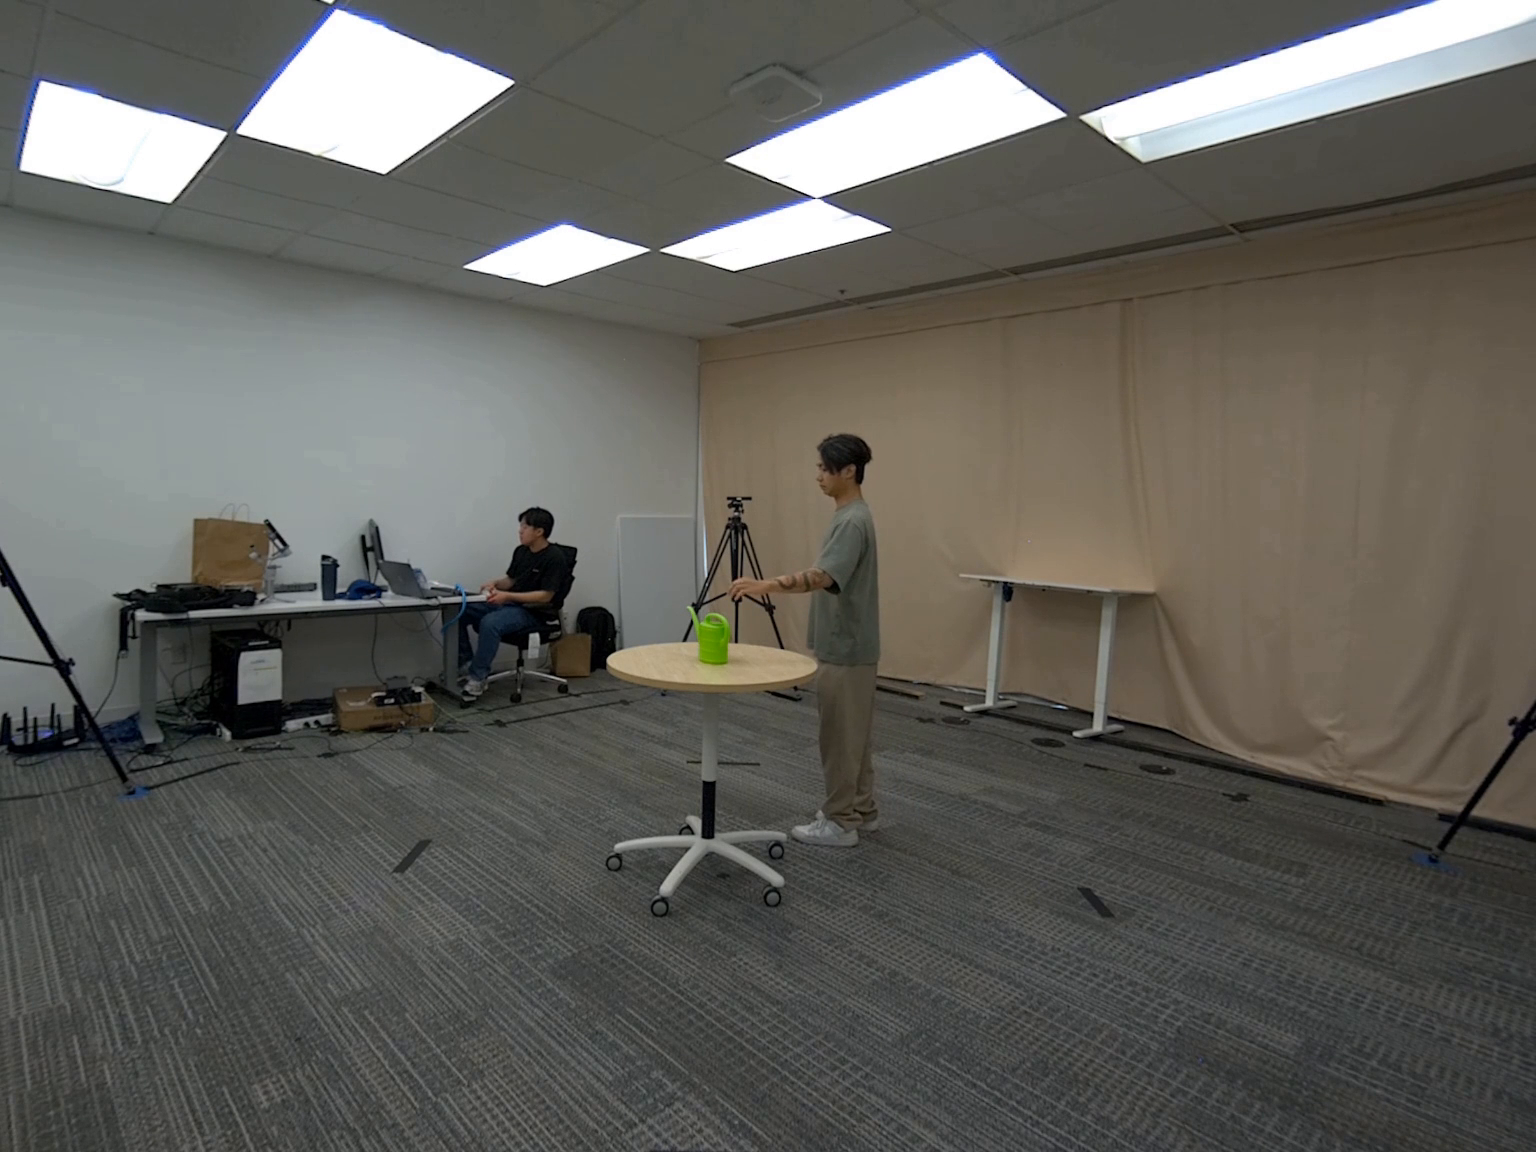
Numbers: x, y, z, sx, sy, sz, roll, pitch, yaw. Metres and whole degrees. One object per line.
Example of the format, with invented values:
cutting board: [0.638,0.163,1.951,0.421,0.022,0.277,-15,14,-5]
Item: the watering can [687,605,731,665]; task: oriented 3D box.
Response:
watering can: [-0.218,0.220,3.105,0.096,0.176,0.284,2,6,-21]
